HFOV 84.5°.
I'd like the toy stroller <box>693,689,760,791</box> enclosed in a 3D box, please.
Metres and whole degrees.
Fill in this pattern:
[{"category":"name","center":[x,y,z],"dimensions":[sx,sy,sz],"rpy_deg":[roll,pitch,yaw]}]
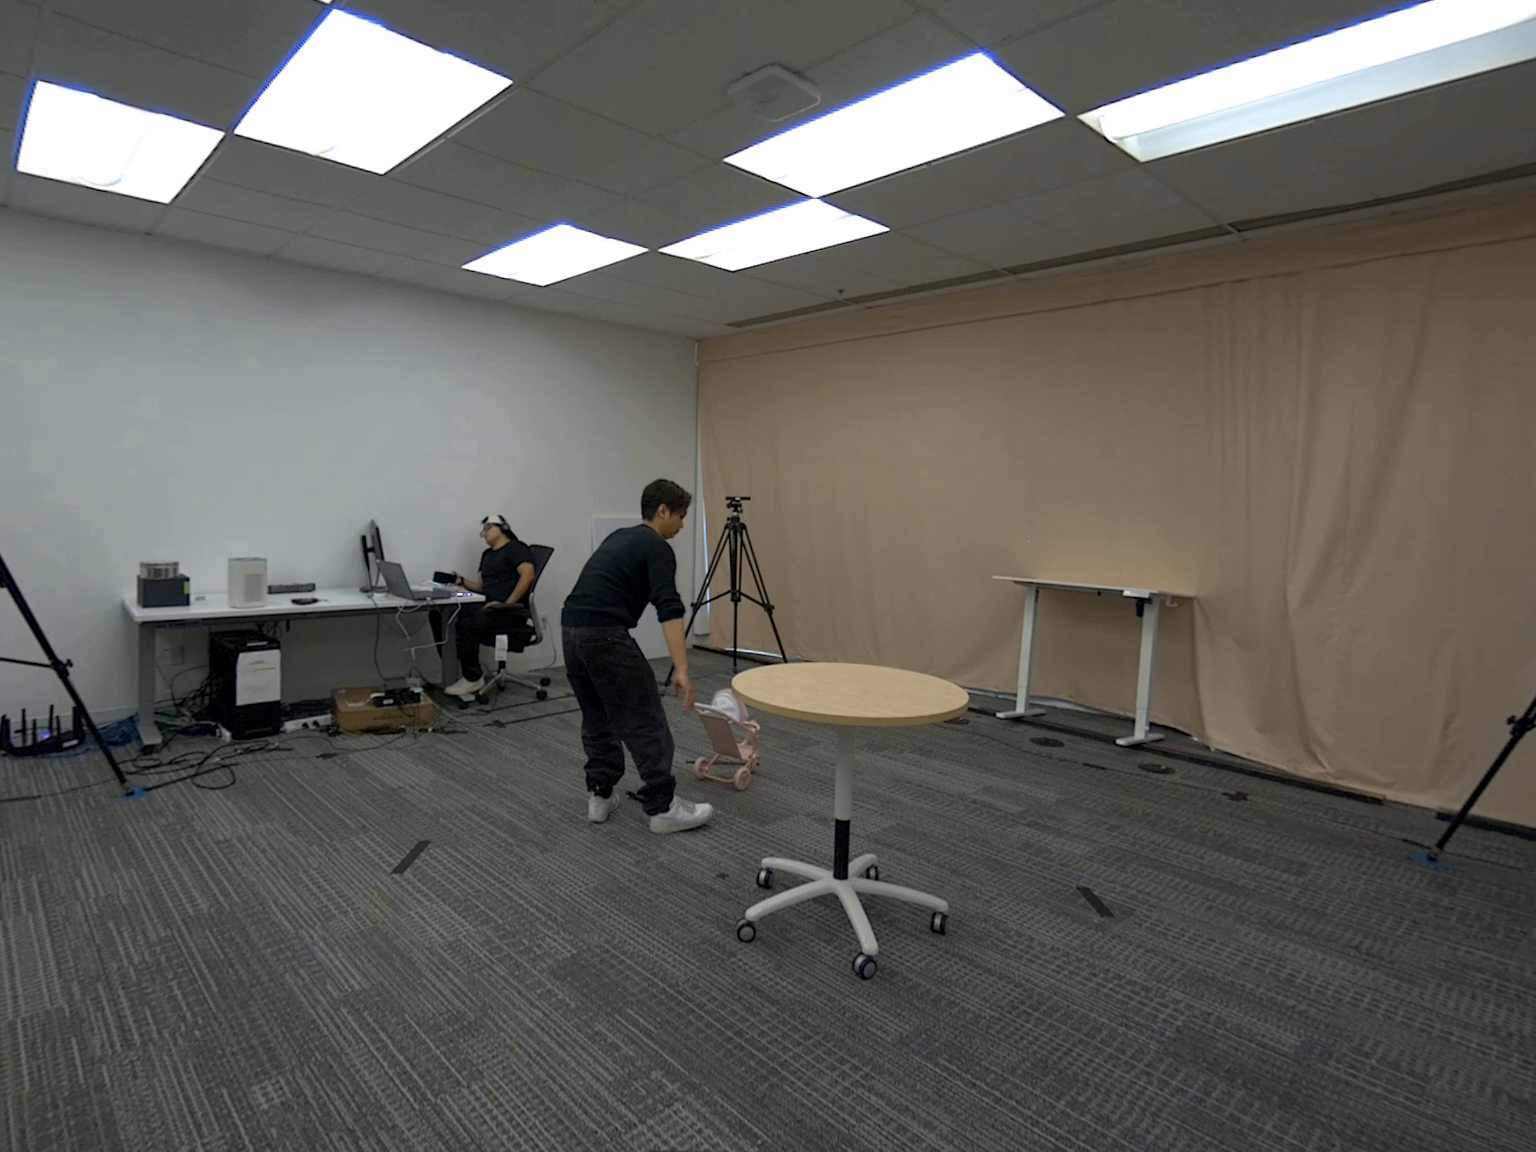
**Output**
[{"category":"toy stroller","center":[-0.199,0.791,4.158],"dimensions":[0.288,0.528,0.337],"rpy_deg":[5,22,39]}]
